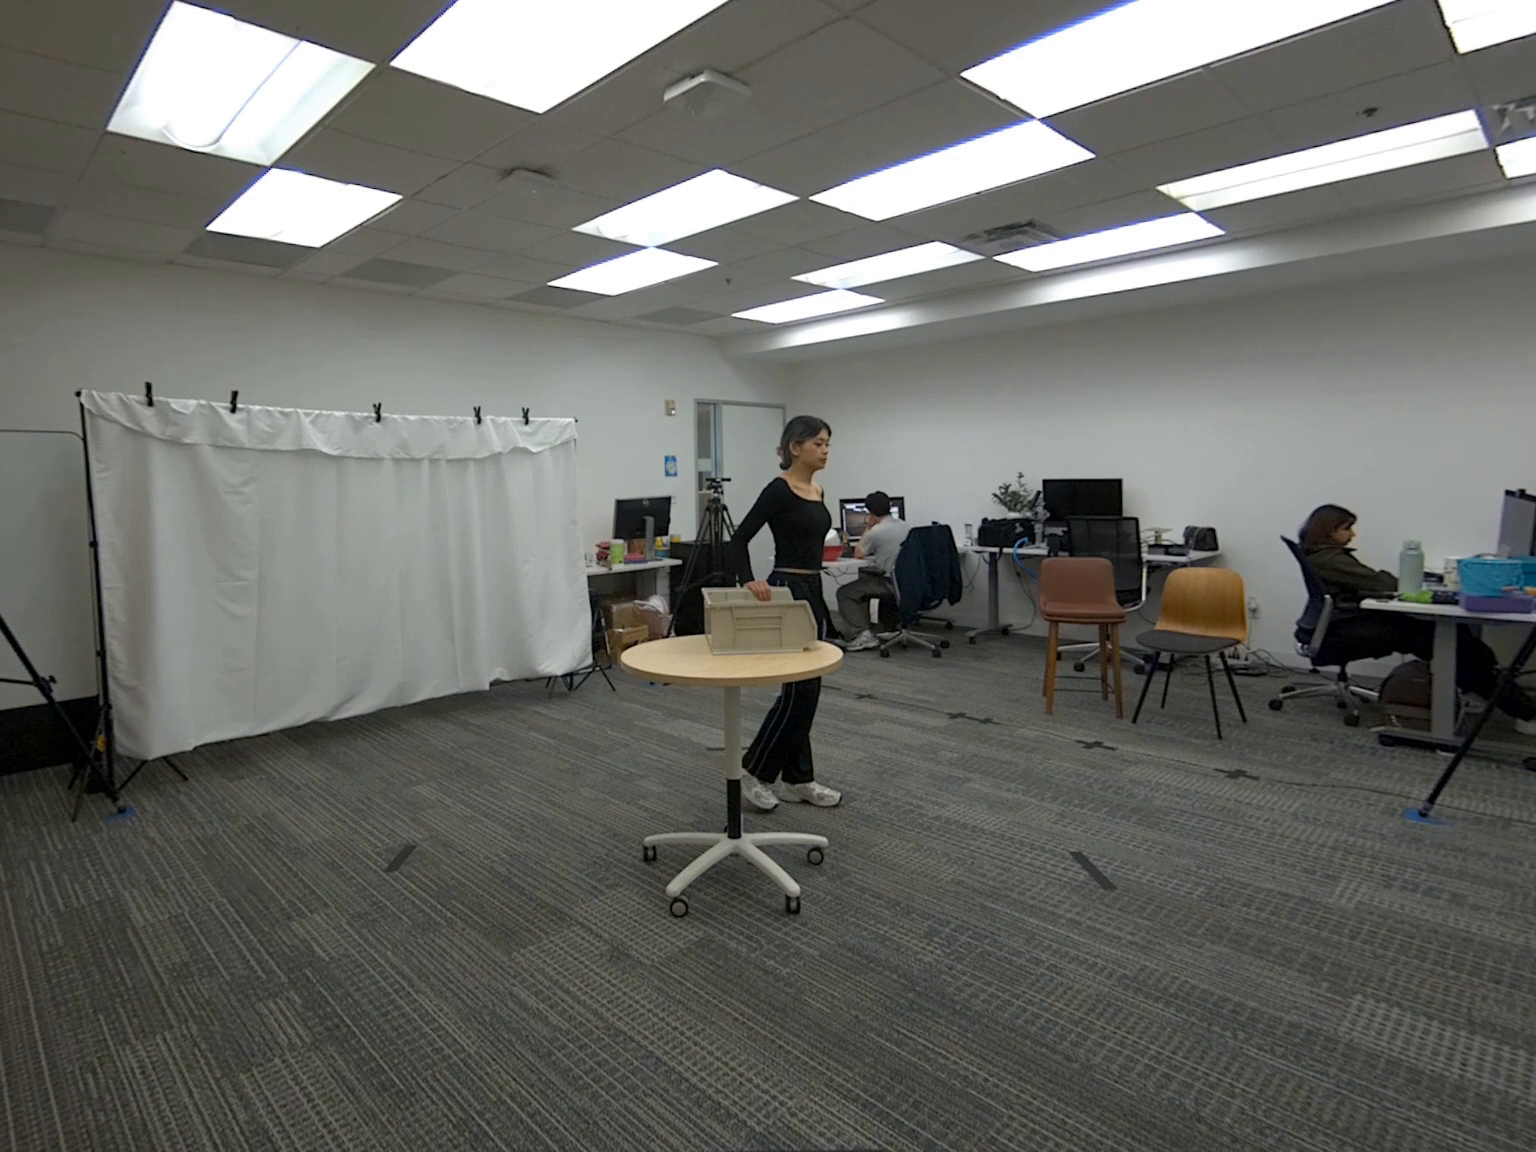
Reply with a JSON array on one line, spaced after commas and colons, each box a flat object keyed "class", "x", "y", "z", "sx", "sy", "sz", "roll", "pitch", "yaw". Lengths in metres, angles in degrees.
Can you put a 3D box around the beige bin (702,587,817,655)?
[{"class": "beige bin", "x": -0.042, "y": 0.149, "z": 3.136, "sx": 0.376, "sy": 0.188, "sz": 0.425, "roll": -2, "pitch": 3, "yaw": -5}]
